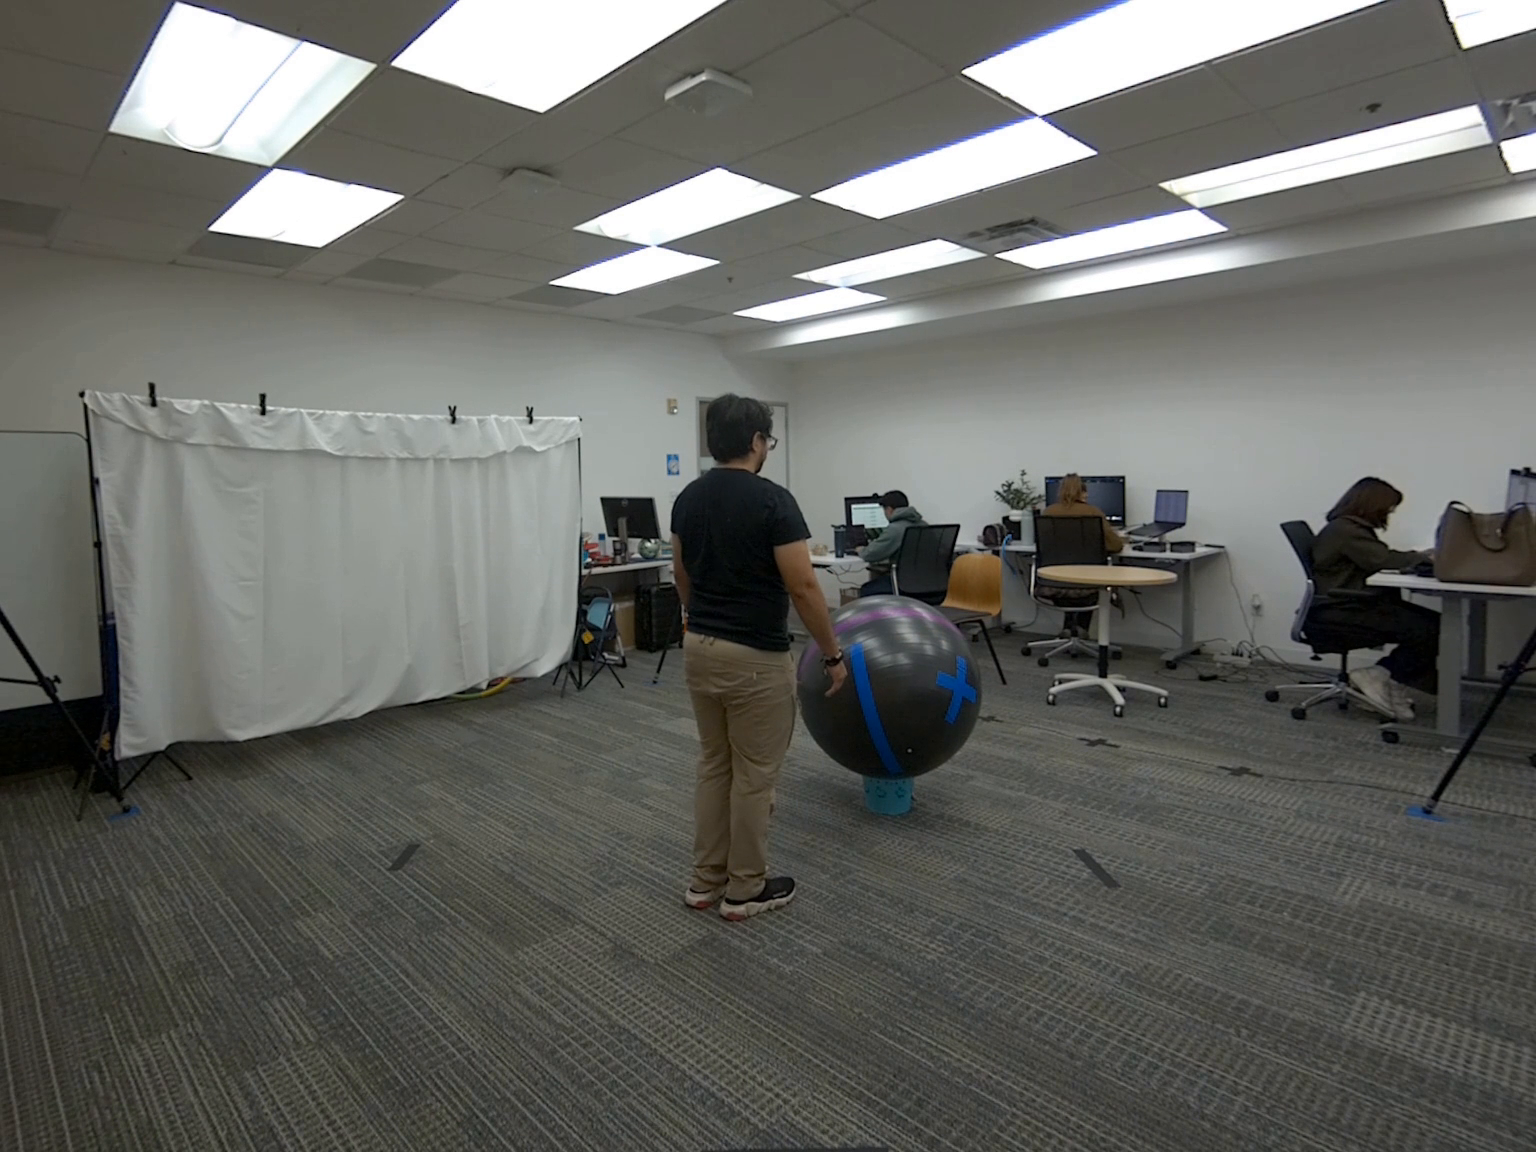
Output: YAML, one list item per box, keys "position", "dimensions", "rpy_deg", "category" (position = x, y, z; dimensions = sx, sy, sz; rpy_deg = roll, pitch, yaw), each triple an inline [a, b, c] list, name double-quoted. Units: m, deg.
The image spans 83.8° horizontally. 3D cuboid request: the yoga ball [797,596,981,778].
- position: [0.500, 0.465, 3.571]
  dimensions: [0.757, 0.755, 0.762]
  rpy_deg: [-1, 5, -2]
  category: "yoga ball"
